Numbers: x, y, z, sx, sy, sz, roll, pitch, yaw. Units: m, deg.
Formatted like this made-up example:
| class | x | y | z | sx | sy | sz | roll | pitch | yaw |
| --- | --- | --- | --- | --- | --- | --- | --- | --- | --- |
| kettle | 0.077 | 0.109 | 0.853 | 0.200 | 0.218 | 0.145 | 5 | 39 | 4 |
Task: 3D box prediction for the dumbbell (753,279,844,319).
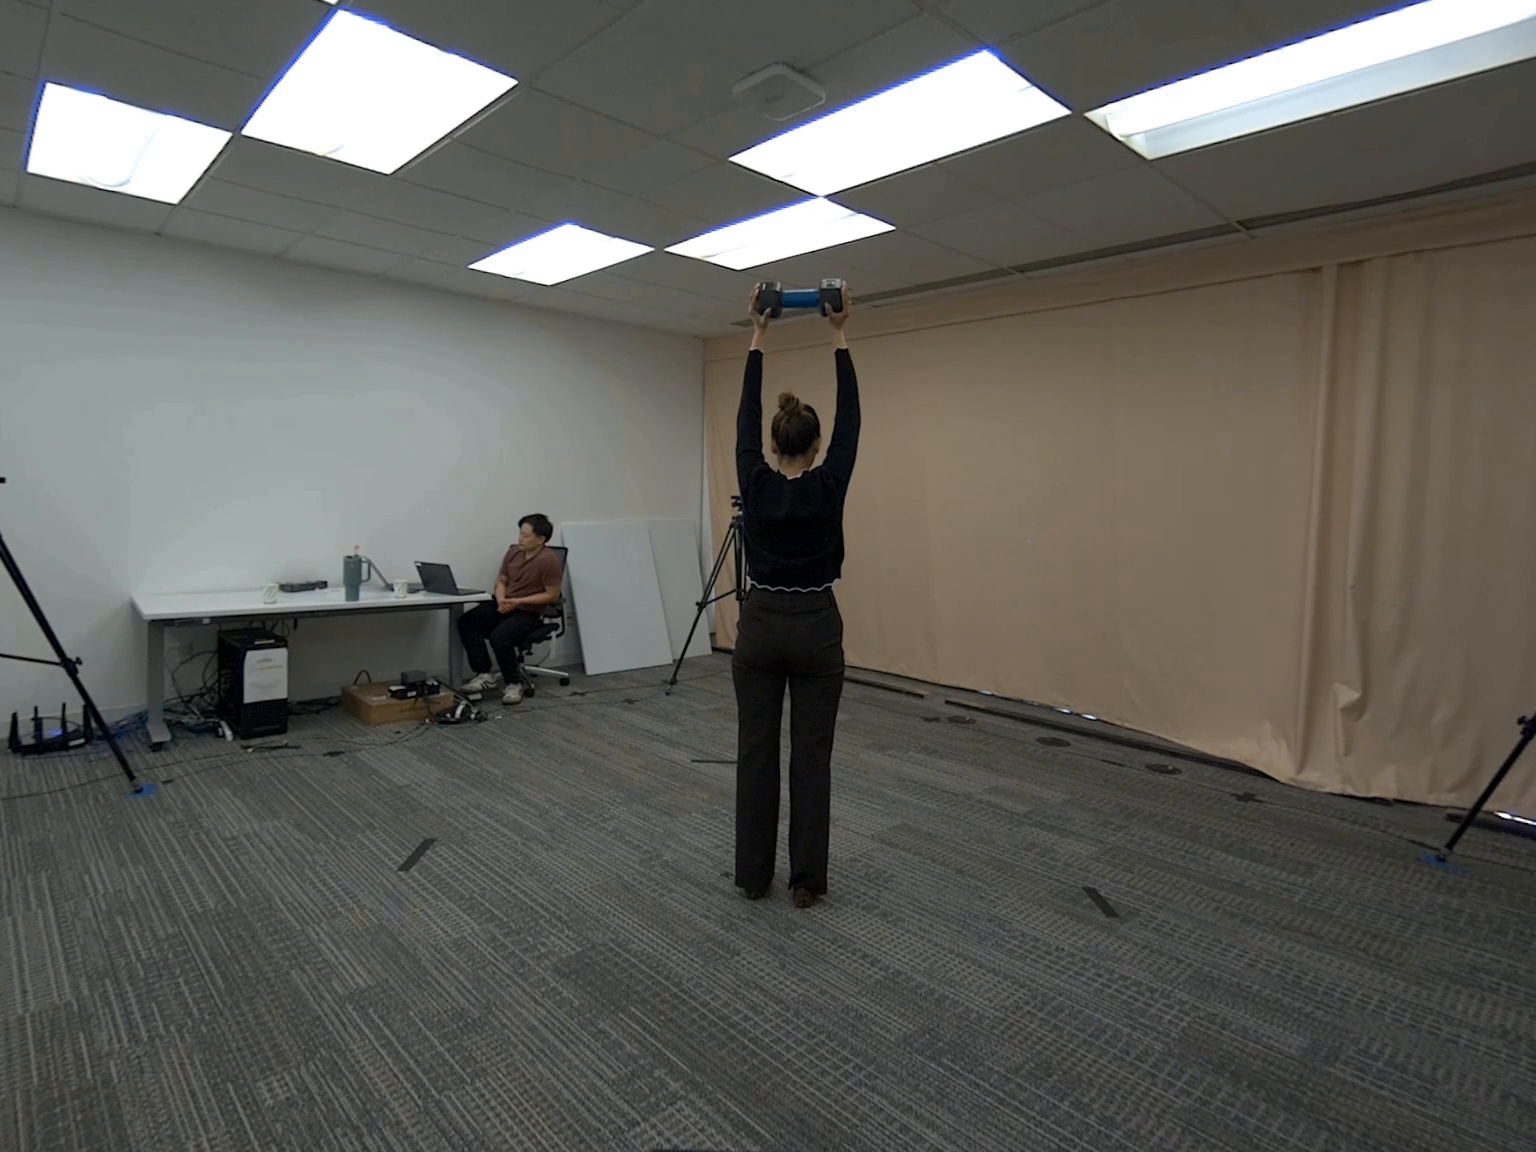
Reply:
| class | x | y | z | sx | sy | sz | roll | pitch | yaw |
| --- | --- | --- | --- | --- | --- | --- | --- | --- | --- |
| dumbbell | 0.114 | -0.946 | 2.894 | 0.296 | 0.110 | 0.121 | 3 | -15 | 9 |
